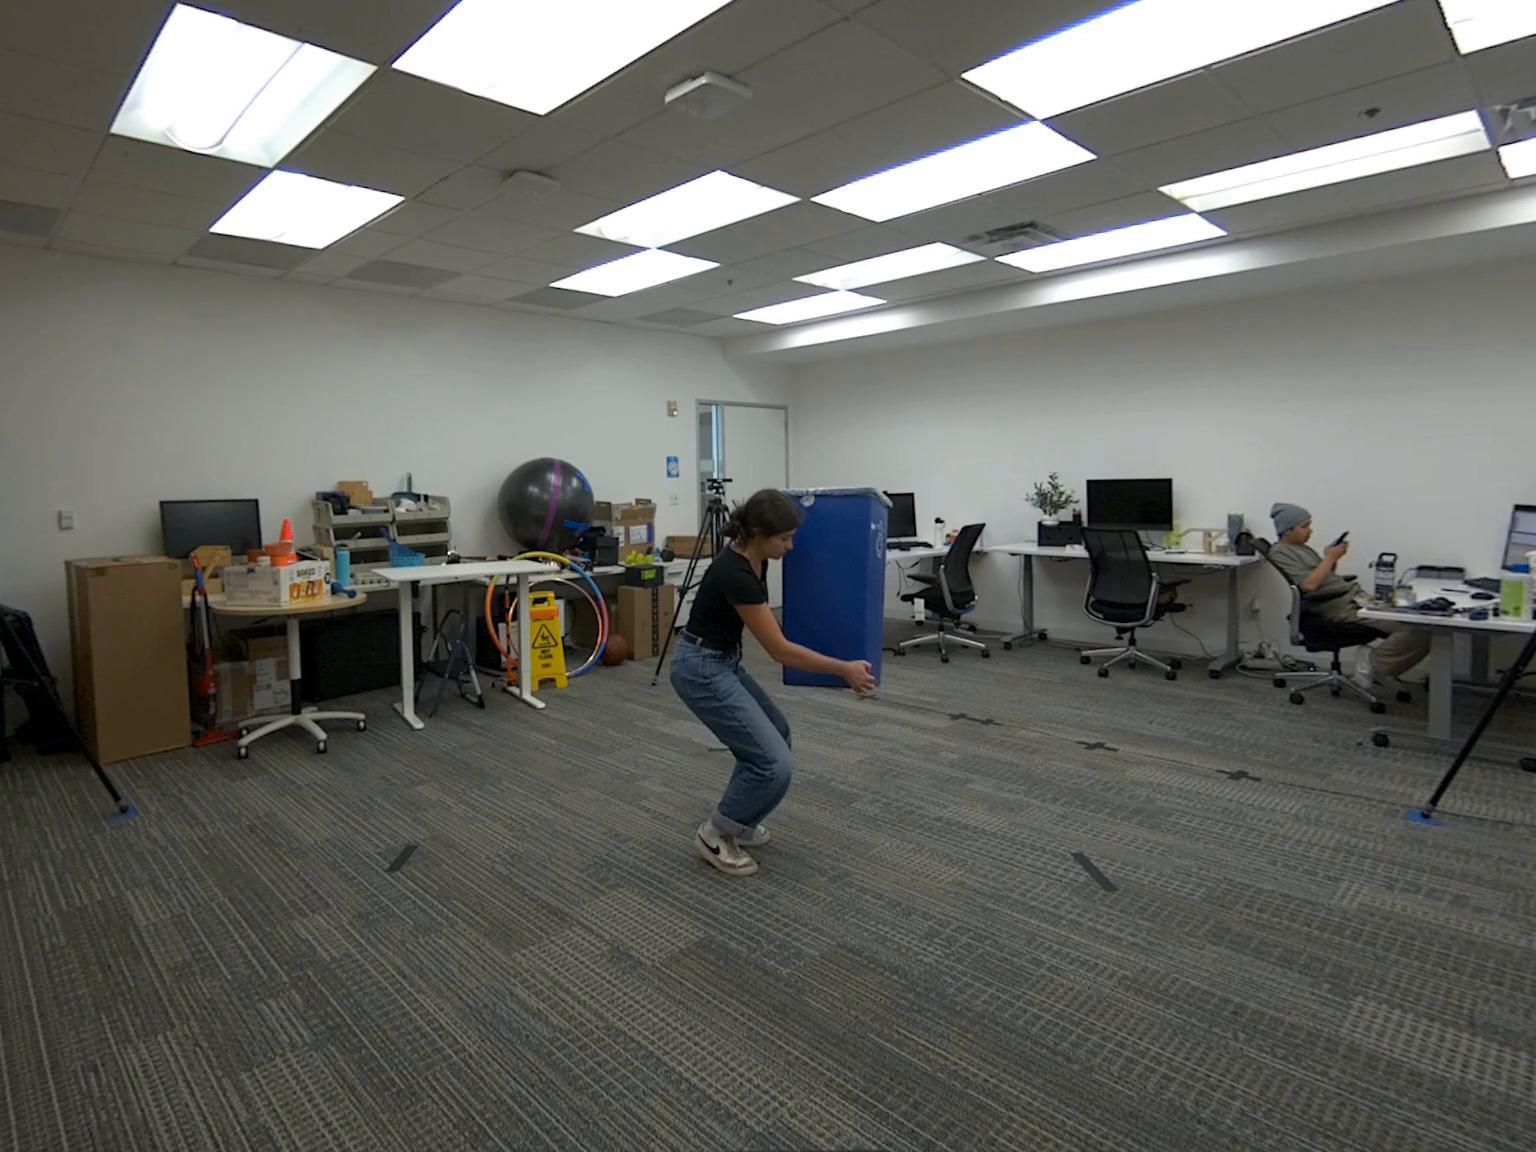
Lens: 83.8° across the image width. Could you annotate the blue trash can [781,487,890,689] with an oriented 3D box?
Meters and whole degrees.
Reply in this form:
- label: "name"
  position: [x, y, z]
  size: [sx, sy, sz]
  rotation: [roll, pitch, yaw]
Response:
- label: "blue trash can"
  position: [0.255, 0.049, 3.221]
  size: [0.385, 0.717, 0.365]
  rotation: [-1, -6, 19]
